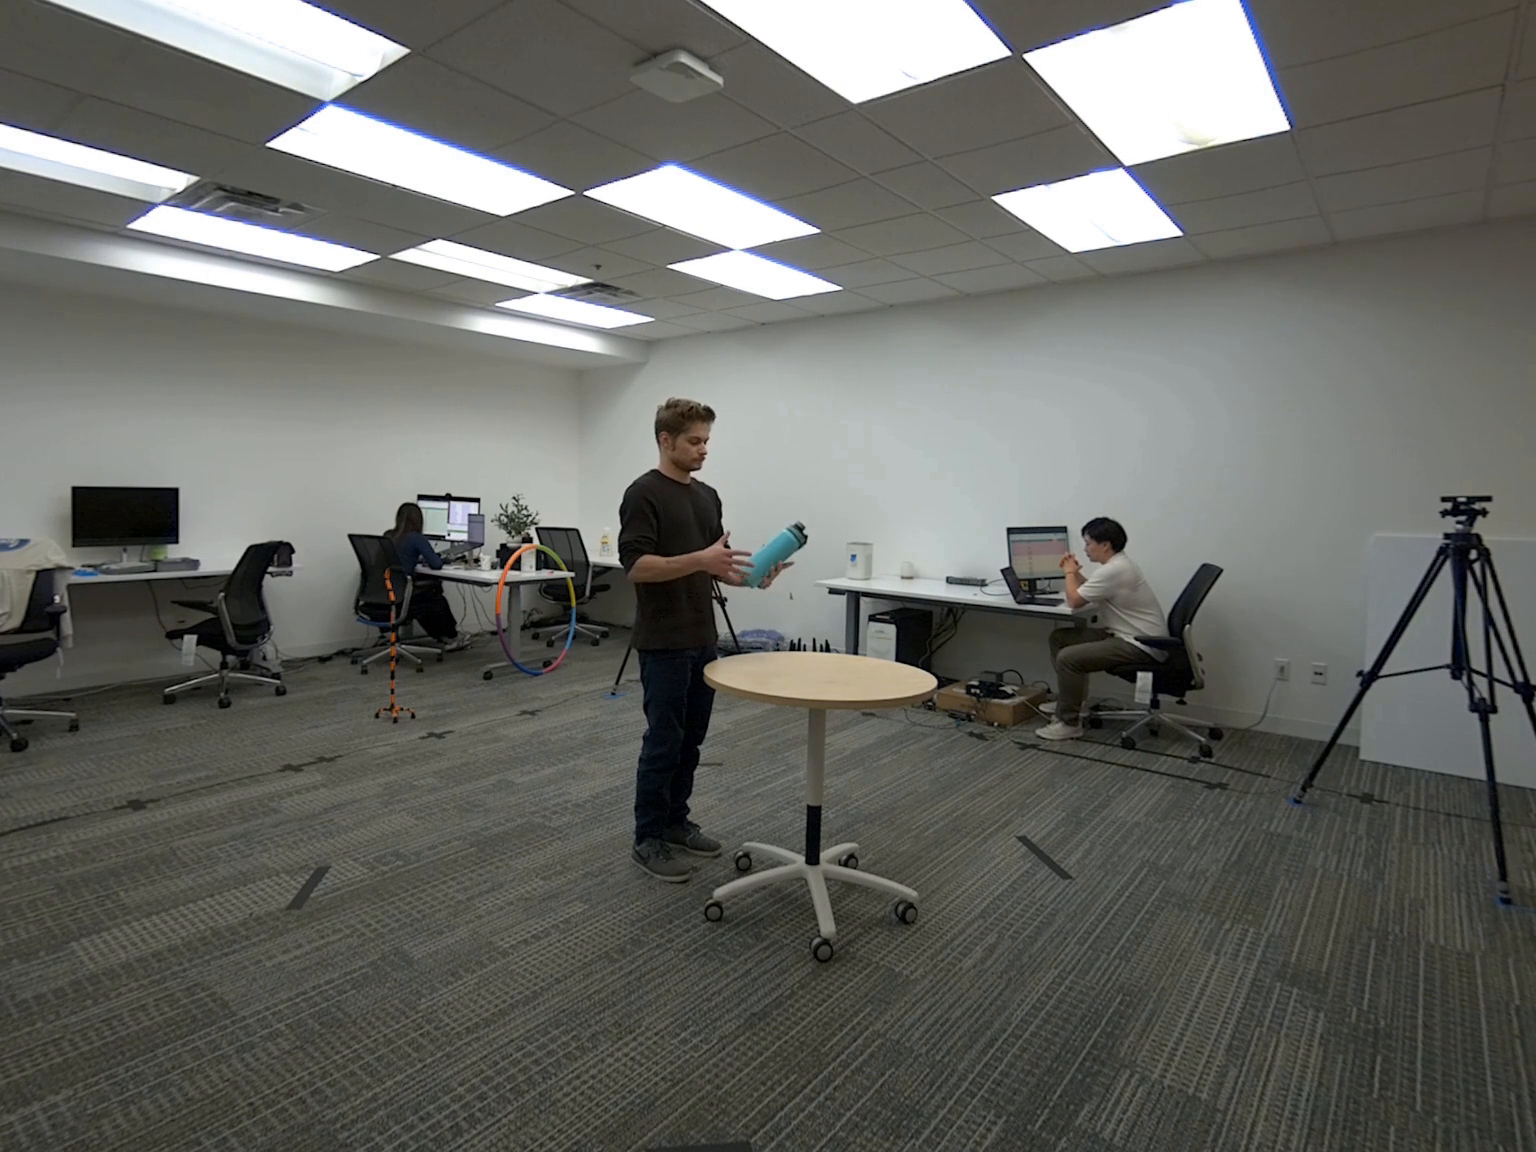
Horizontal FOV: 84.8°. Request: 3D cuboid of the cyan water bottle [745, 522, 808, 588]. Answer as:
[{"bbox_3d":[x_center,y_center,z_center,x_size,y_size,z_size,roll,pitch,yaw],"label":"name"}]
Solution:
[{"bbox_3d":[0.003,-0.069,2.987,0.283,0.091,0.094,-38,12,-8],"label":"cyan water bottle"}]
